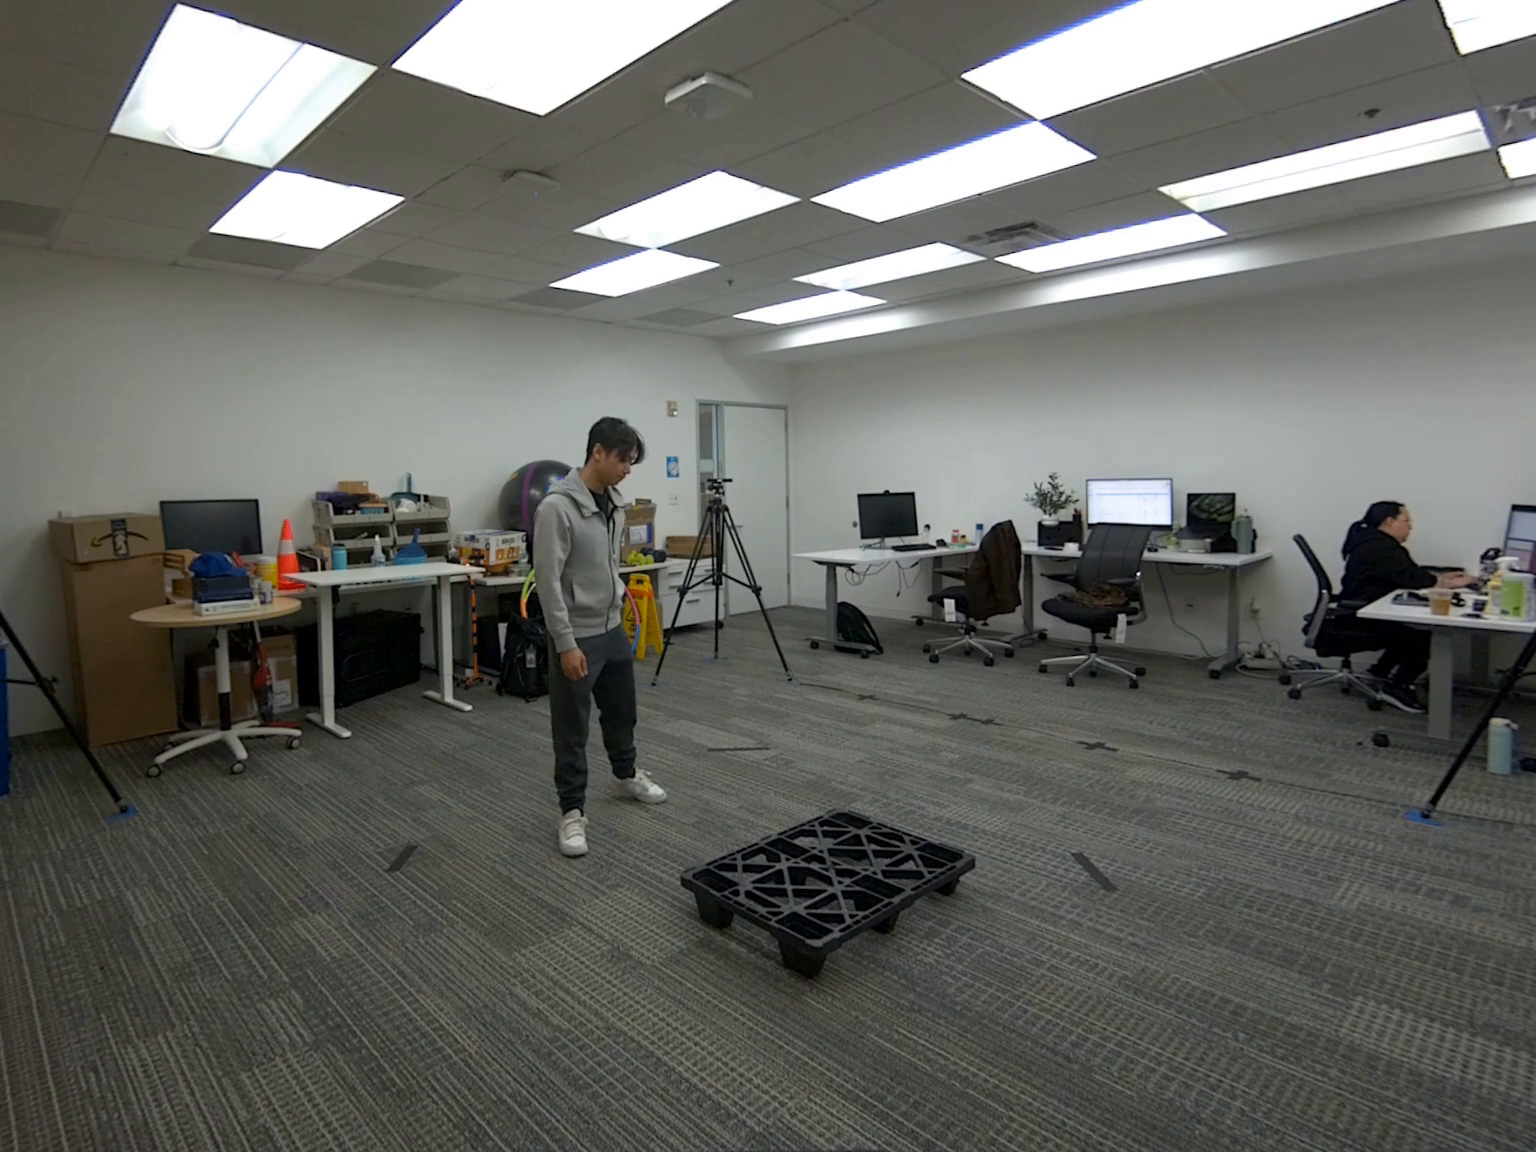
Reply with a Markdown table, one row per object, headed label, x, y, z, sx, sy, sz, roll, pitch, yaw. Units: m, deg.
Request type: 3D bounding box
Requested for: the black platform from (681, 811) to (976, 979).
| label | x | y | z | sx | sy | sz | roll | pitch | yaw |
| --- | --- | --- | --- | --- | --- | --- | --- | --- | --- |
| black platform | 0.199 | 1.010 | 2.794 | 0.784 | 0.143 | 0.624 | -7 | 8 | -43 |
